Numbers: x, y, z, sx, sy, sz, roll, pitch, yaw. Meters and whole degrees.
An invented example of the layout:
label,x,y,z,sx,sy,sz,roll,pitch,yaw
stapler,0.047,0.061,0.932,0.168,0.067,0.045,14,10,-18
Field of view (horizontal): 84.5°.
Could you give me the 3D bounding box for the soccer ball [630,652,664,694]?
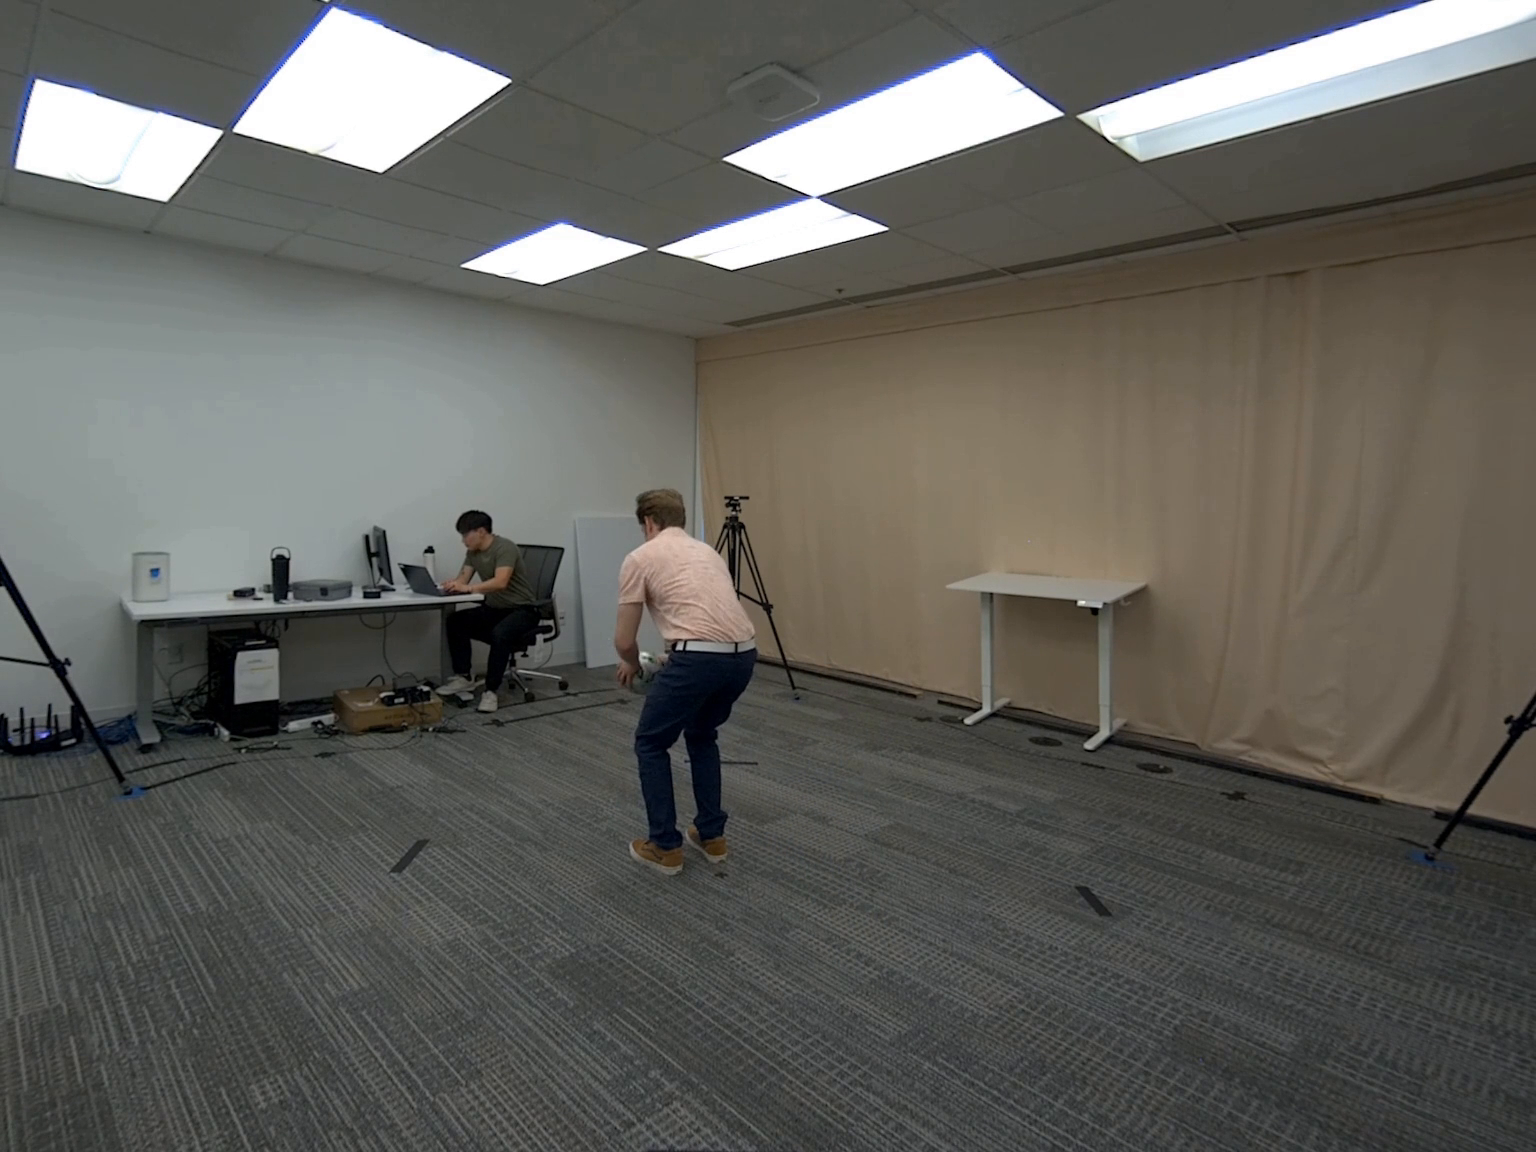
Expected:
label,x,y,z,sx,sy,sz,roll,pitch,yaw
soccer ball,-0.534,0.412,3.541,0.187,0.187,0.188,1,4,-1
